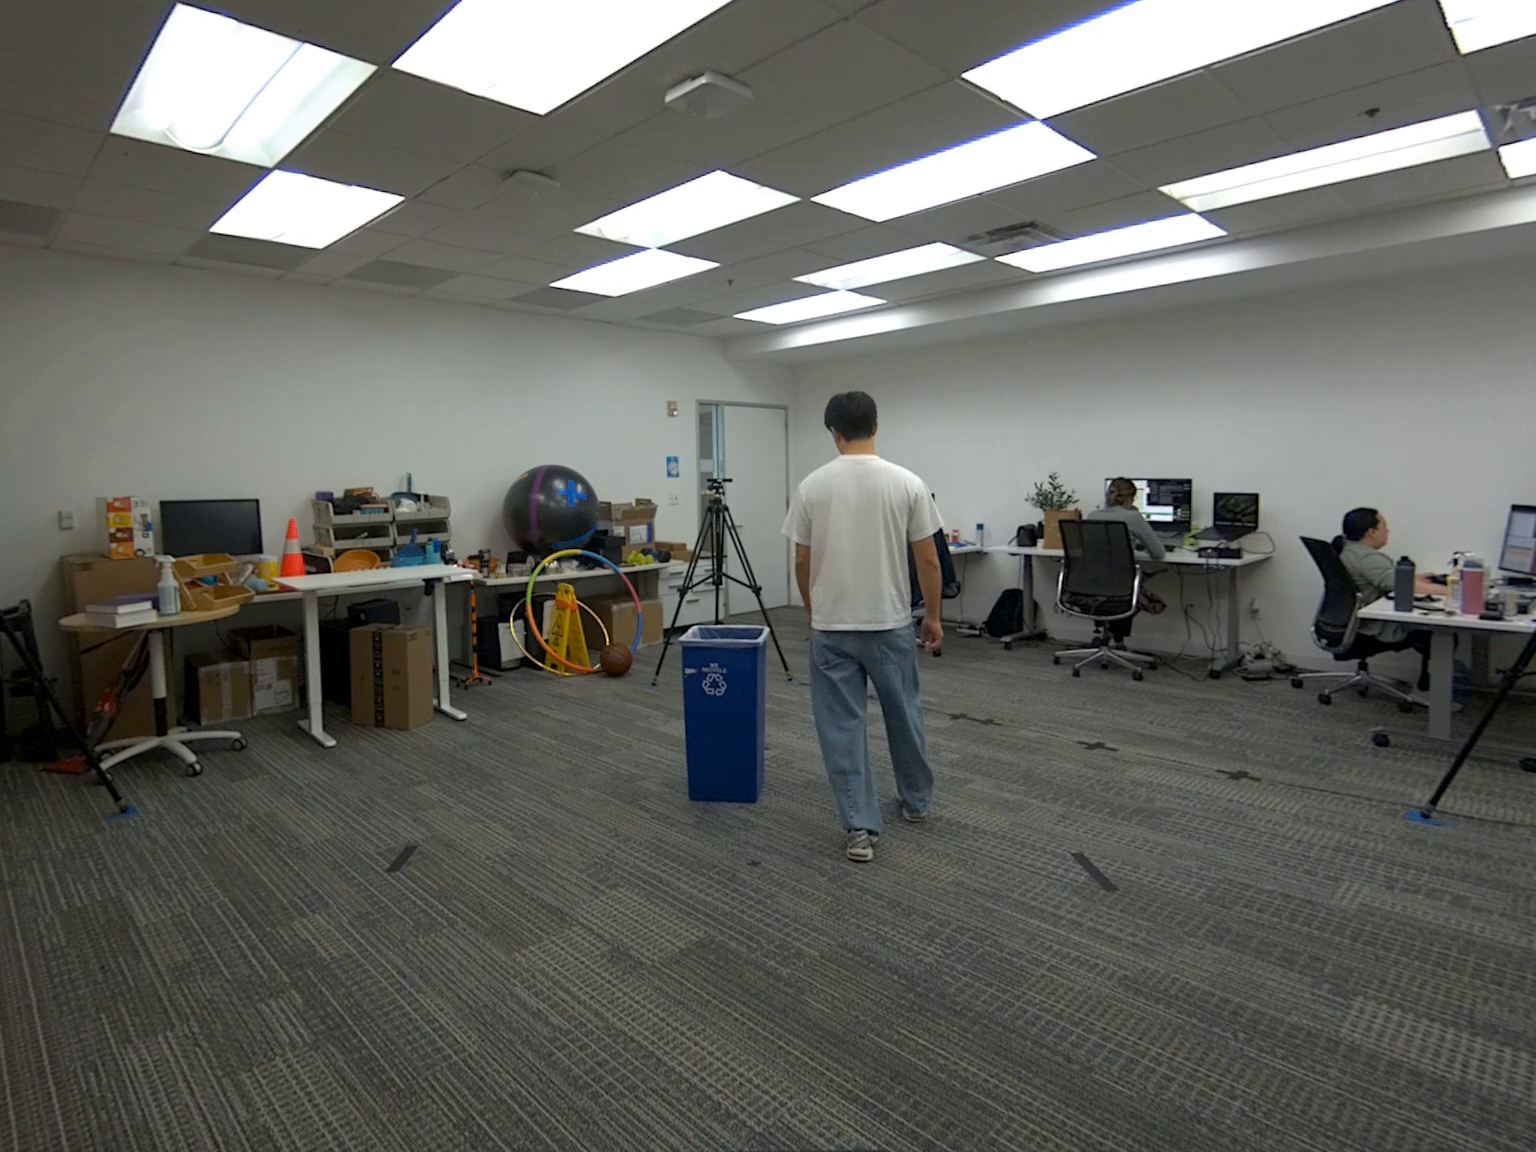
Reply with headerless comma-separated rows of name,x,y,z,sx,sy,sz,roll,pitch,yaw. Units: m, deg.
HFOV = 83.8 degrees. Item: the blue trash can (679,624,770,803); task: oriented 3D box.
blue trash can,-0.183,0.608,3.839,0.377,0.711,0.376,-1,4,8
